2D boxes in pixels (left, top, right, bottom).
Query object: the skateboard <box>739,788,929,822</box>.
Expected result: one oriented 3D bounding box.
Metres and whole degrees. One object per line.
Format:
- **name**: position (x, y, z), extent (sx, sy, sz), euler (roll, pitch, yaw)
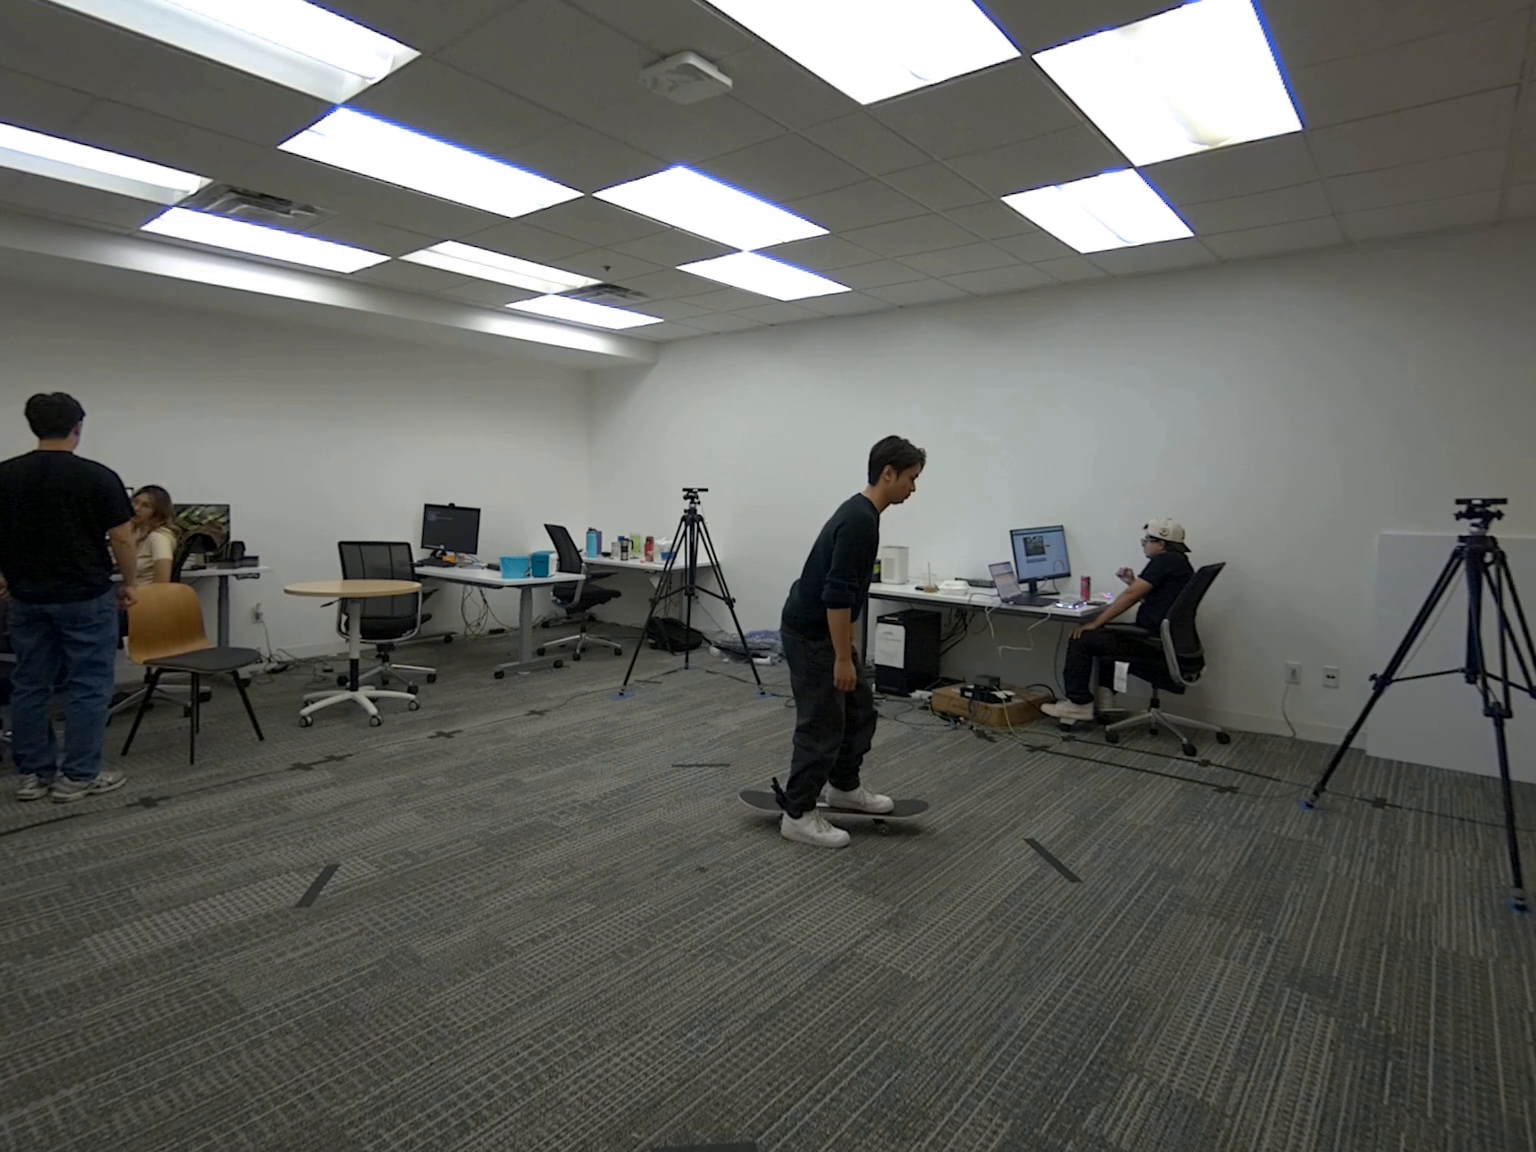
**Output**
- **skateboard**: position (0.254, 0.975, 3.547), extent (0.788, 0.110, 0.193), euler (3, 5, 3)
